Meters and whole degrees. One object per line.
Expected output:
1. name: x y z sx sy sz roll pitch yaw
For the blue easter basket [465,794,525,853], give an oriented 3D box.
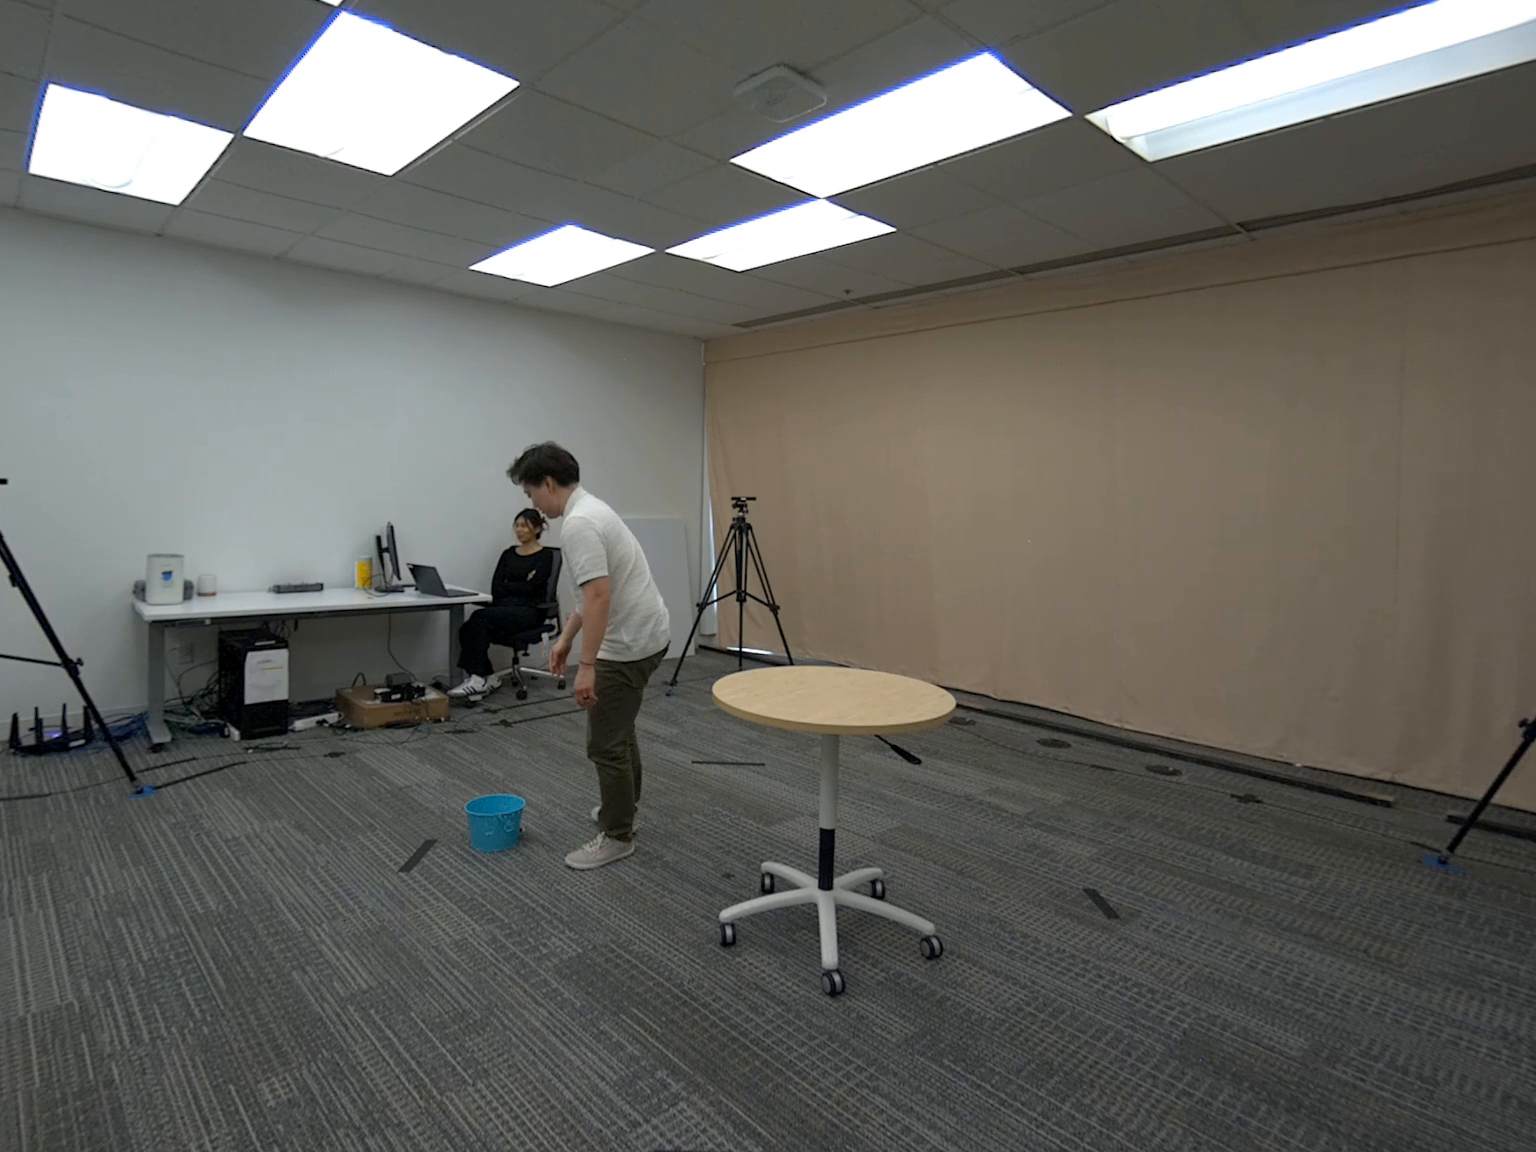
1. blue easter basket: -1.085 0.983 3.355 0.243 0.155 0.244 2 5 -1
